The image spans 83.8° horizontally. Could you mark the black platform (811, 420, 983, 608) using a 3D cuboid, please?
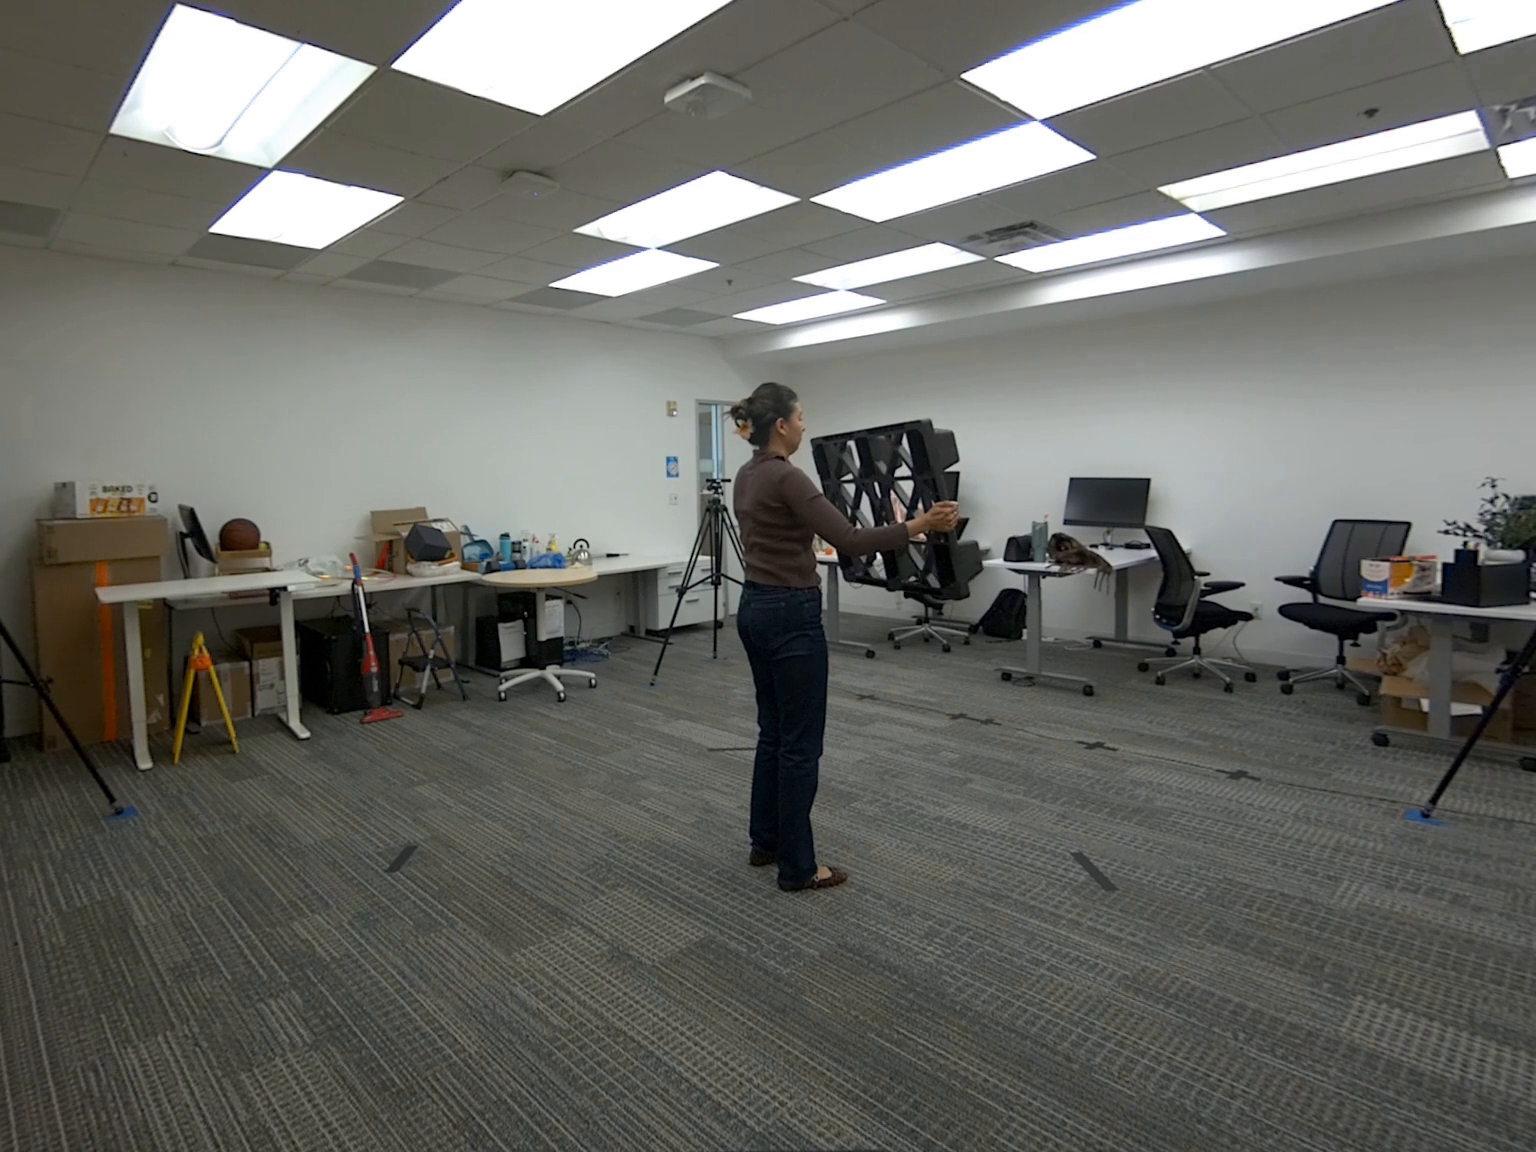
[{"bbox_3d":[0.450,-0.245,3.095,0.141,0.600,0.823,-16,9,-20],"label":"black platform"}]
